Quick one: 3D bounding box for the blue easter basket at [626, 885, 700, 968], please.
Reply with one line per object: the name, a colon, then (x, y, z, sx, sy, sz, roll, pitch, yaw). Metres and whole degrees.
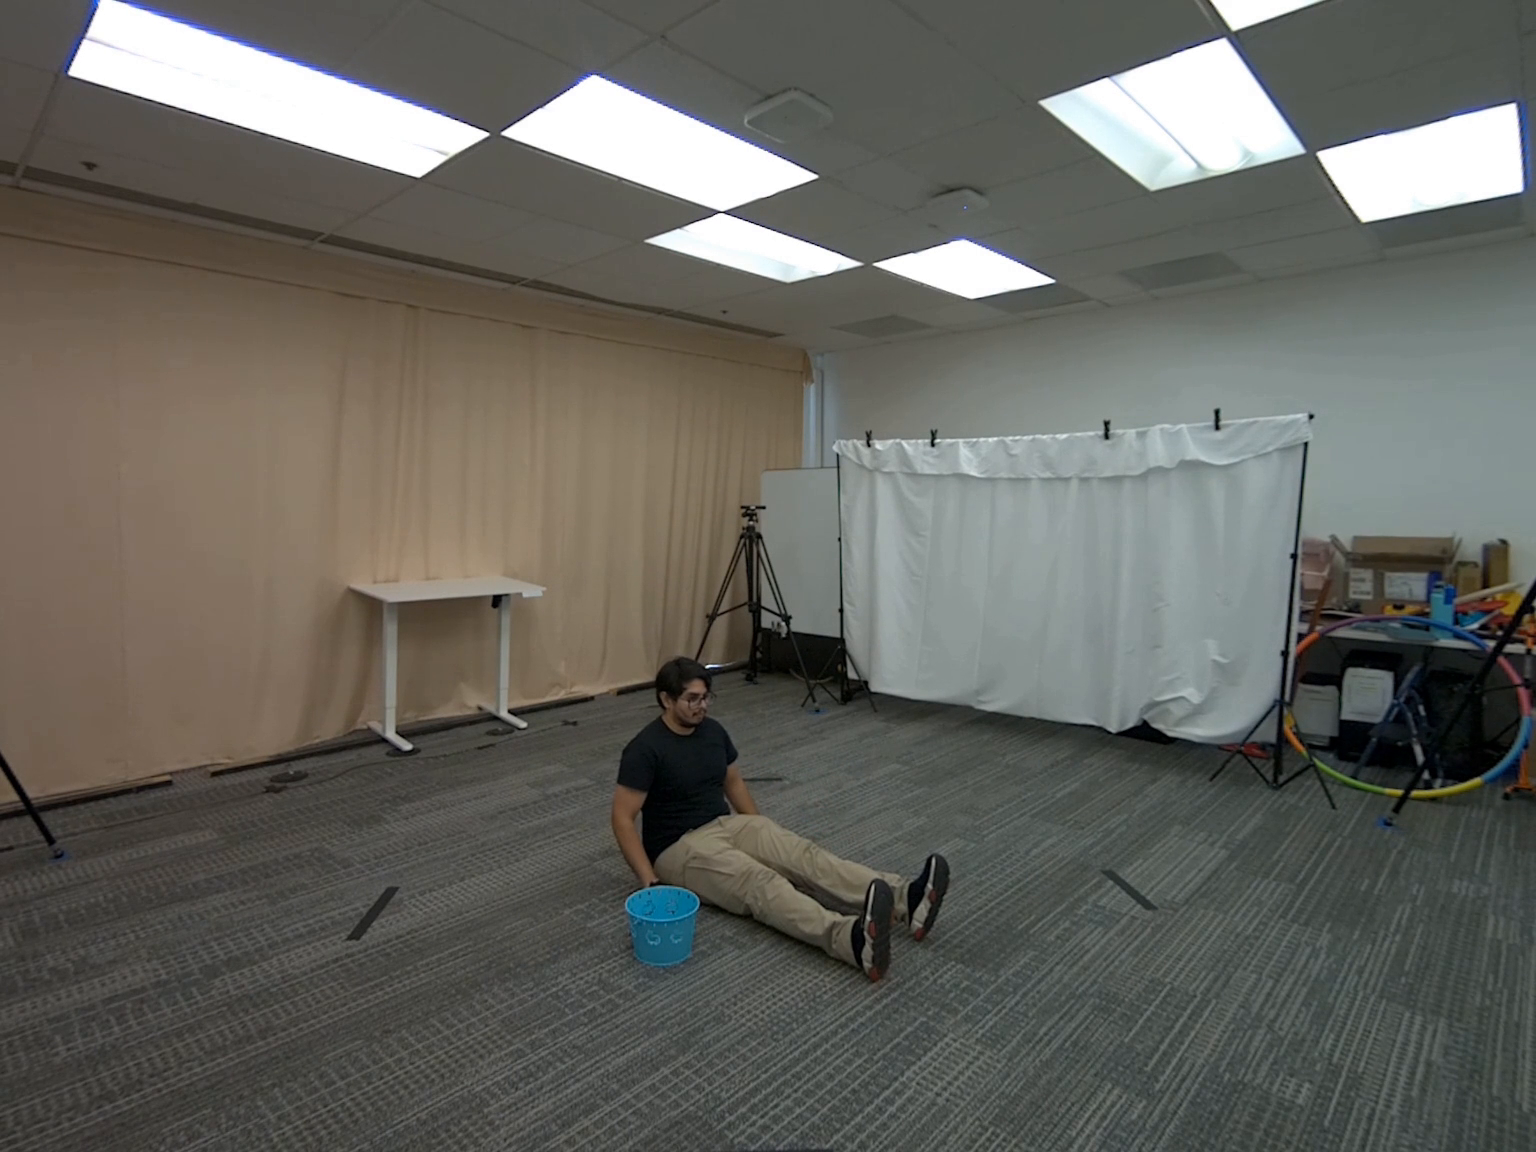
blue easter basket: (-0.331, 1.089, 2.648, 0.243, 0.155, 0.244, 0, 4, -2)
